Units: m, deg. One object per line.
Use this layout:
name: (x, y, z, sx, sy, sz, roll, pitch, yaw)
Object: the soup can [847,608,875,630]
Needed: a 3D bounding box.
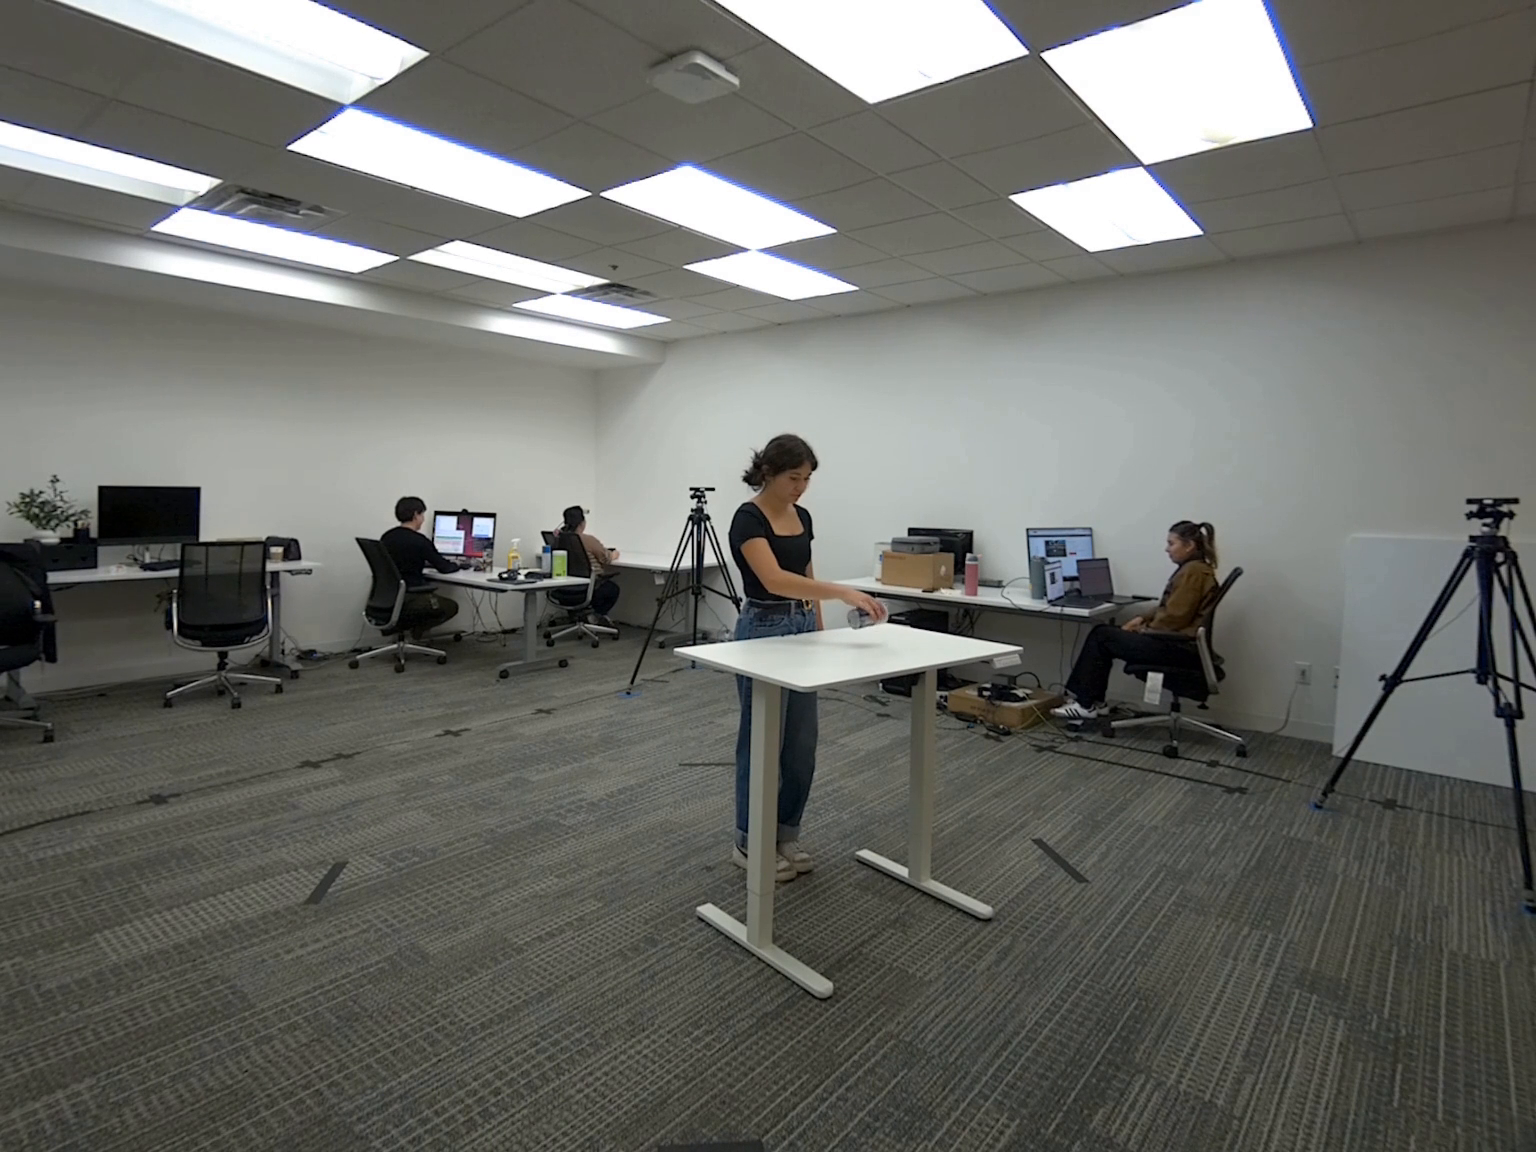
soup can: (0.315, 0.131, 2.776, 0.119, 0.067, 0.069, -2, 5, -22)
